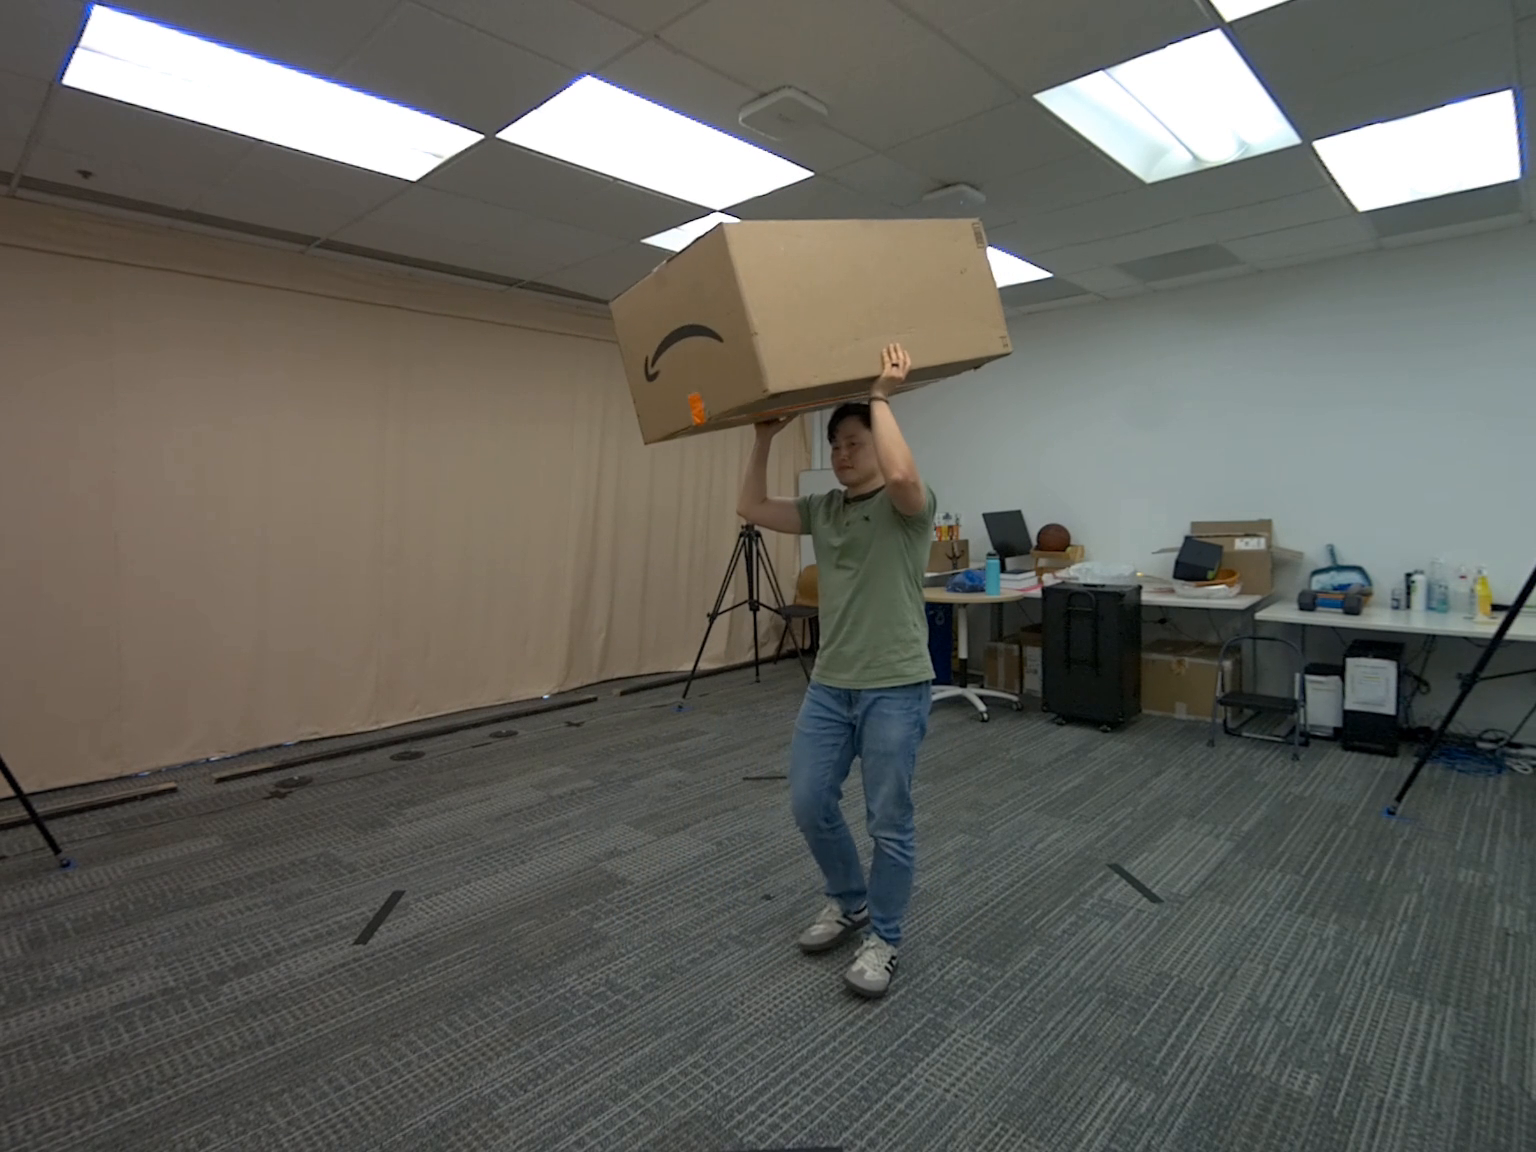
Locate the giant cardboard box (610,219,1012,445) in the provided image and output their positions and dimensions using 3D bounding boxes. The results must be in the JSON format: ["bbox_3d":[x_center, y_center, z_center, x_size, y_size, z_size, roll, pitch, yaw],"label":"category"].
[{"bbox_3d":[0.149,-0.722,2.498,1.001,0.424,0.593,-19,6,-37],"label":"giant cardboard box"}]
